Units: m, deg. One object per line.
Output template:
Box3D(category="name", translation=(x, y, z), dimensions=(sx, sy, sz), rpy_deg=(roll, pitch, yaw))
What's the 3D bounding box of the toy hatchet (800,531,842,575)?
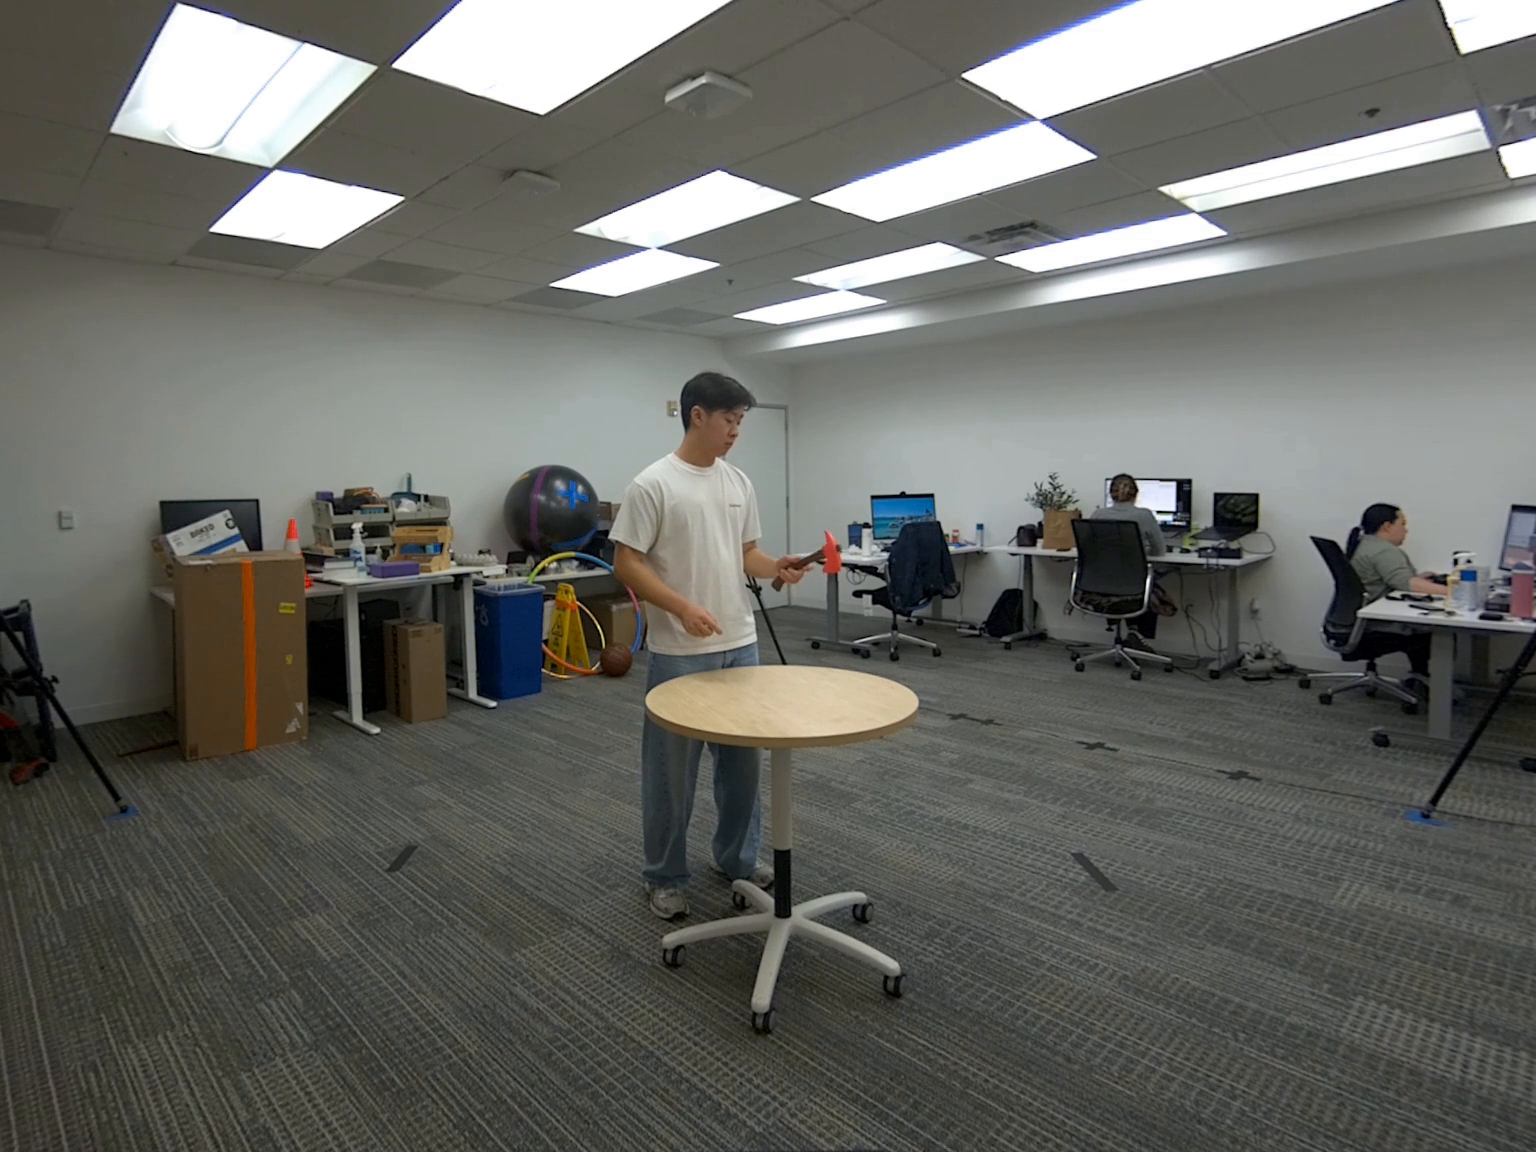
Box3D(category="toy hatchet", translation=(0.129, -0.011, 2.665), dimensions=(0.270, 0.134, 0.029), rpy_deg=(-44, -23, 25))
